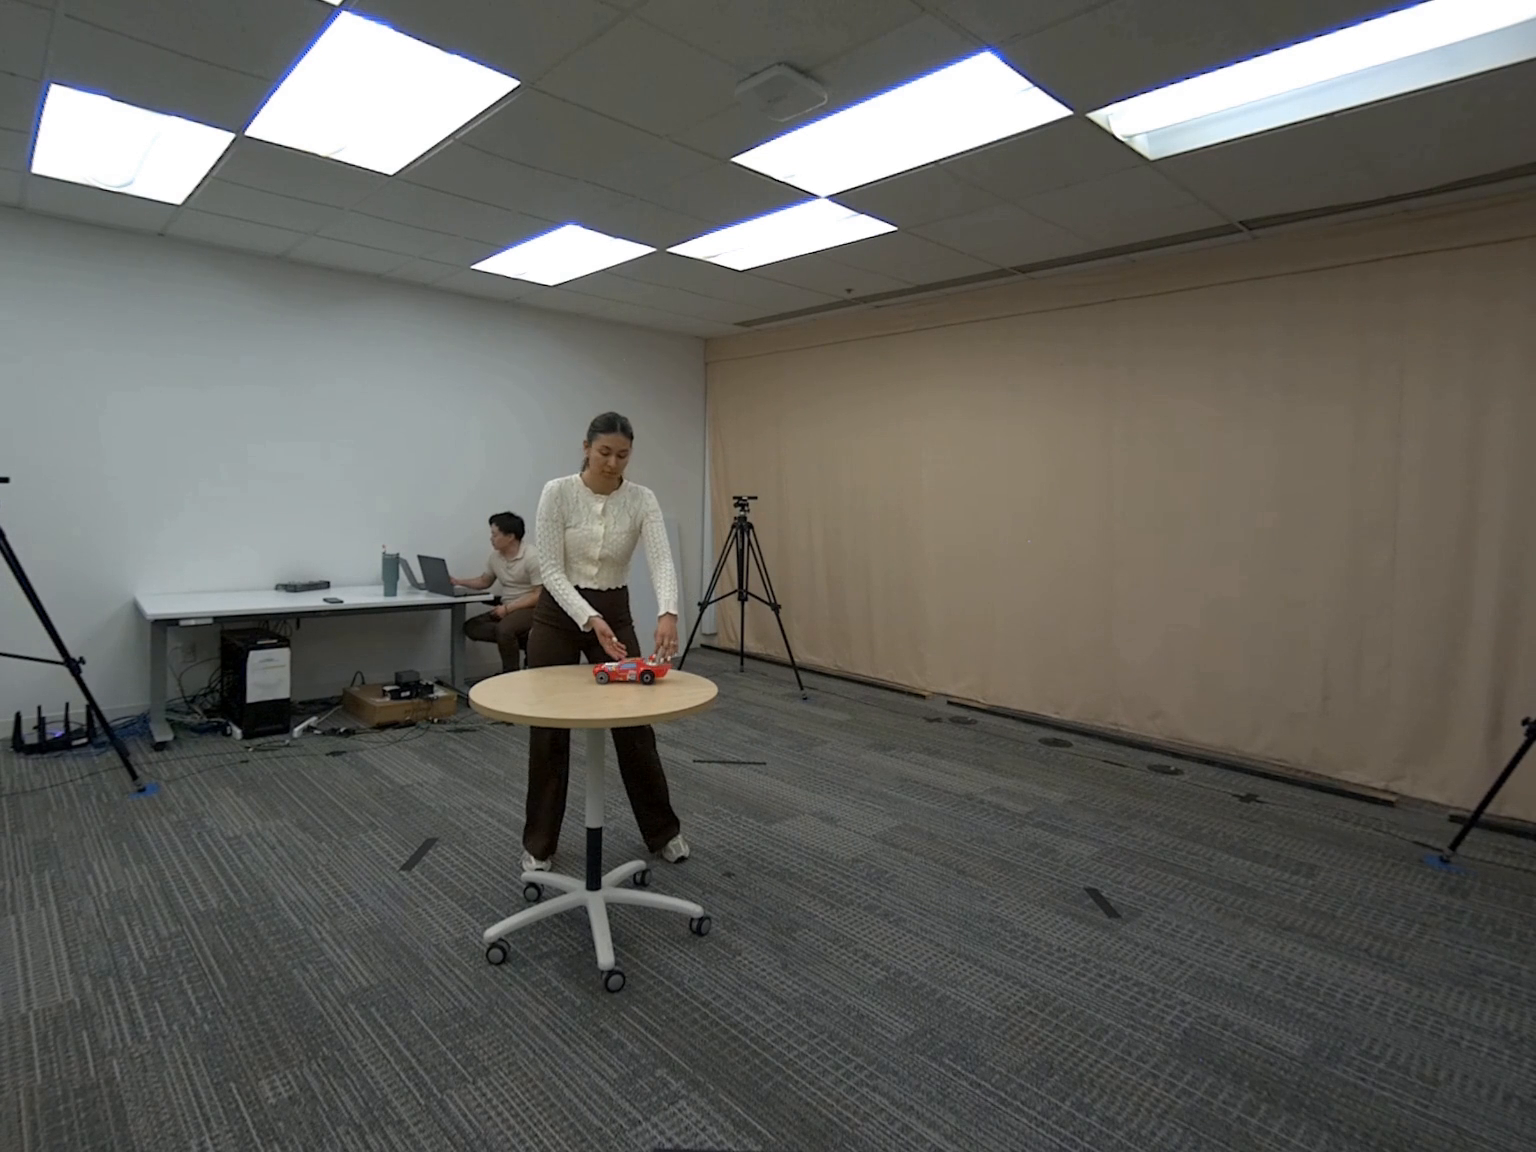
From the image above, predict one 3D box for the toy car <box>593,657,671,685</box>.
[{"bbox_3d":[-0.450,0.314,2.741,0.255,0.083,0.130,-9,3,1],"label":"toy car"}]
